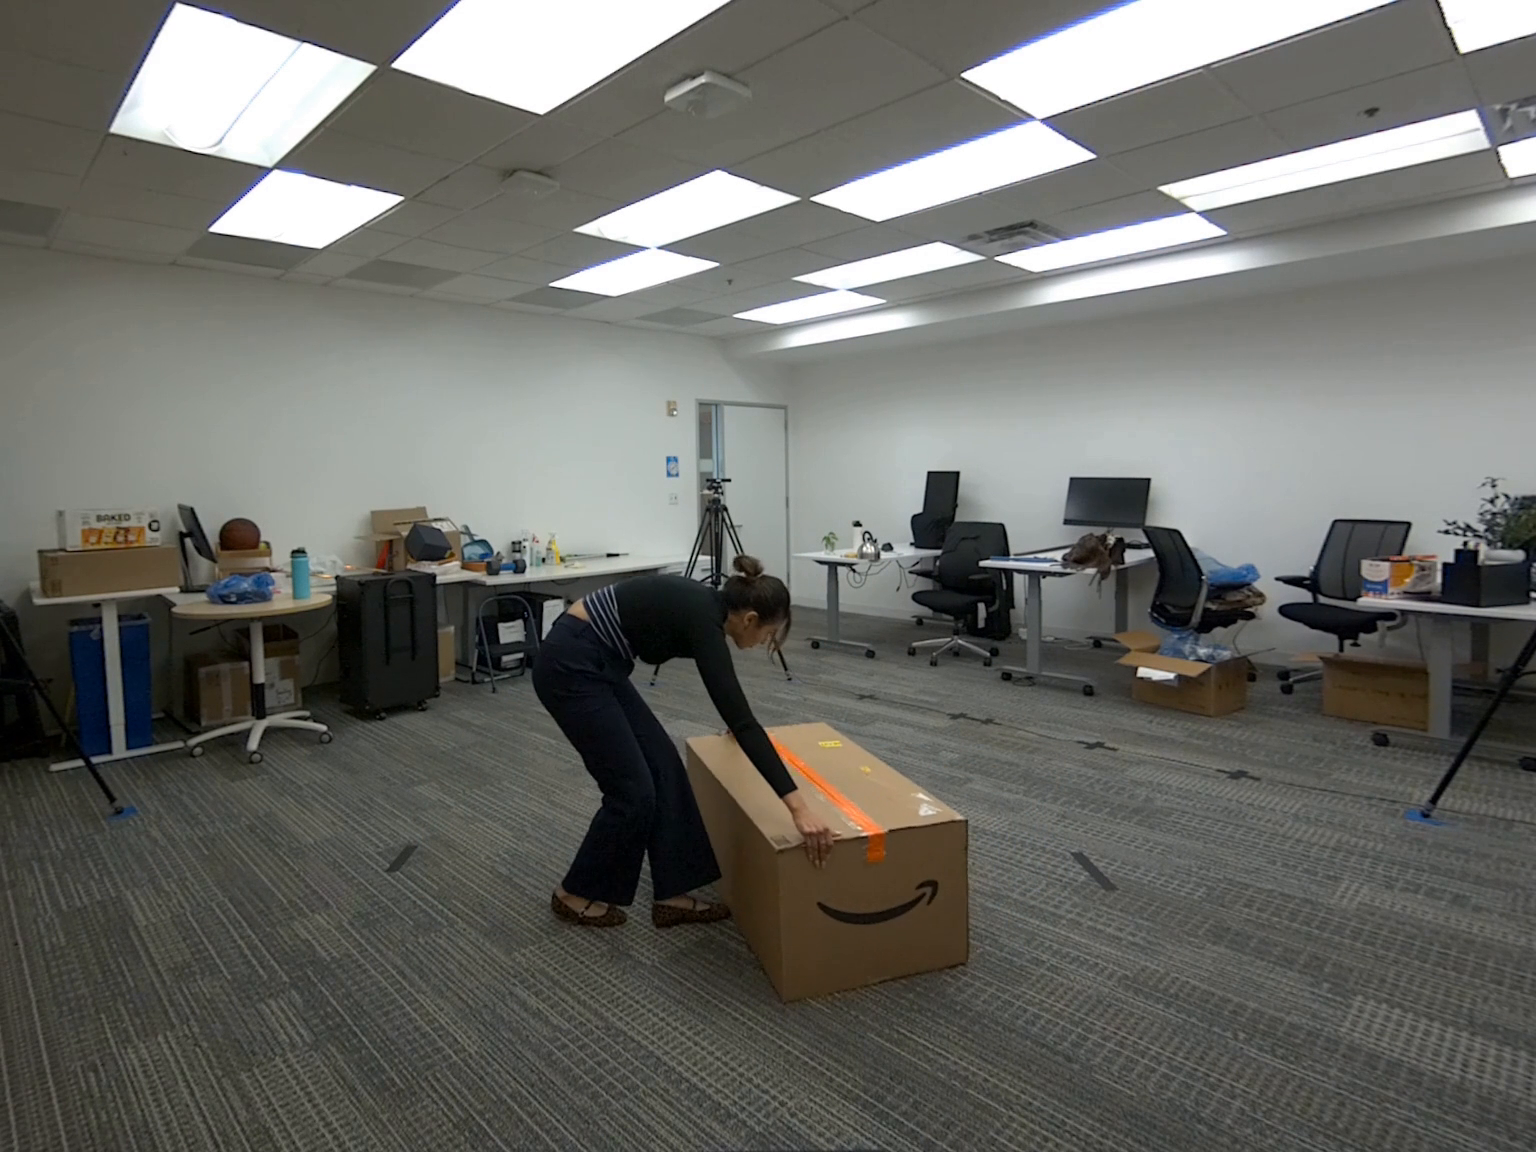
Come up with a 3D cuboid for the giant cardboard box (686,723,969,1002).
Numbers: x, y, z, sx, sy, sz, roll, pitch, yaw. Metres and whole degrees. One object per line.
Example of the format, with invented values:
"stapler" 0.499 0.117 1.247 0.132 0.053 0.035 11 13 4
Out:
"giant cardboard box" 0.135 0.856 2.833 0.568 0.424 1.047 -3 6 -19
